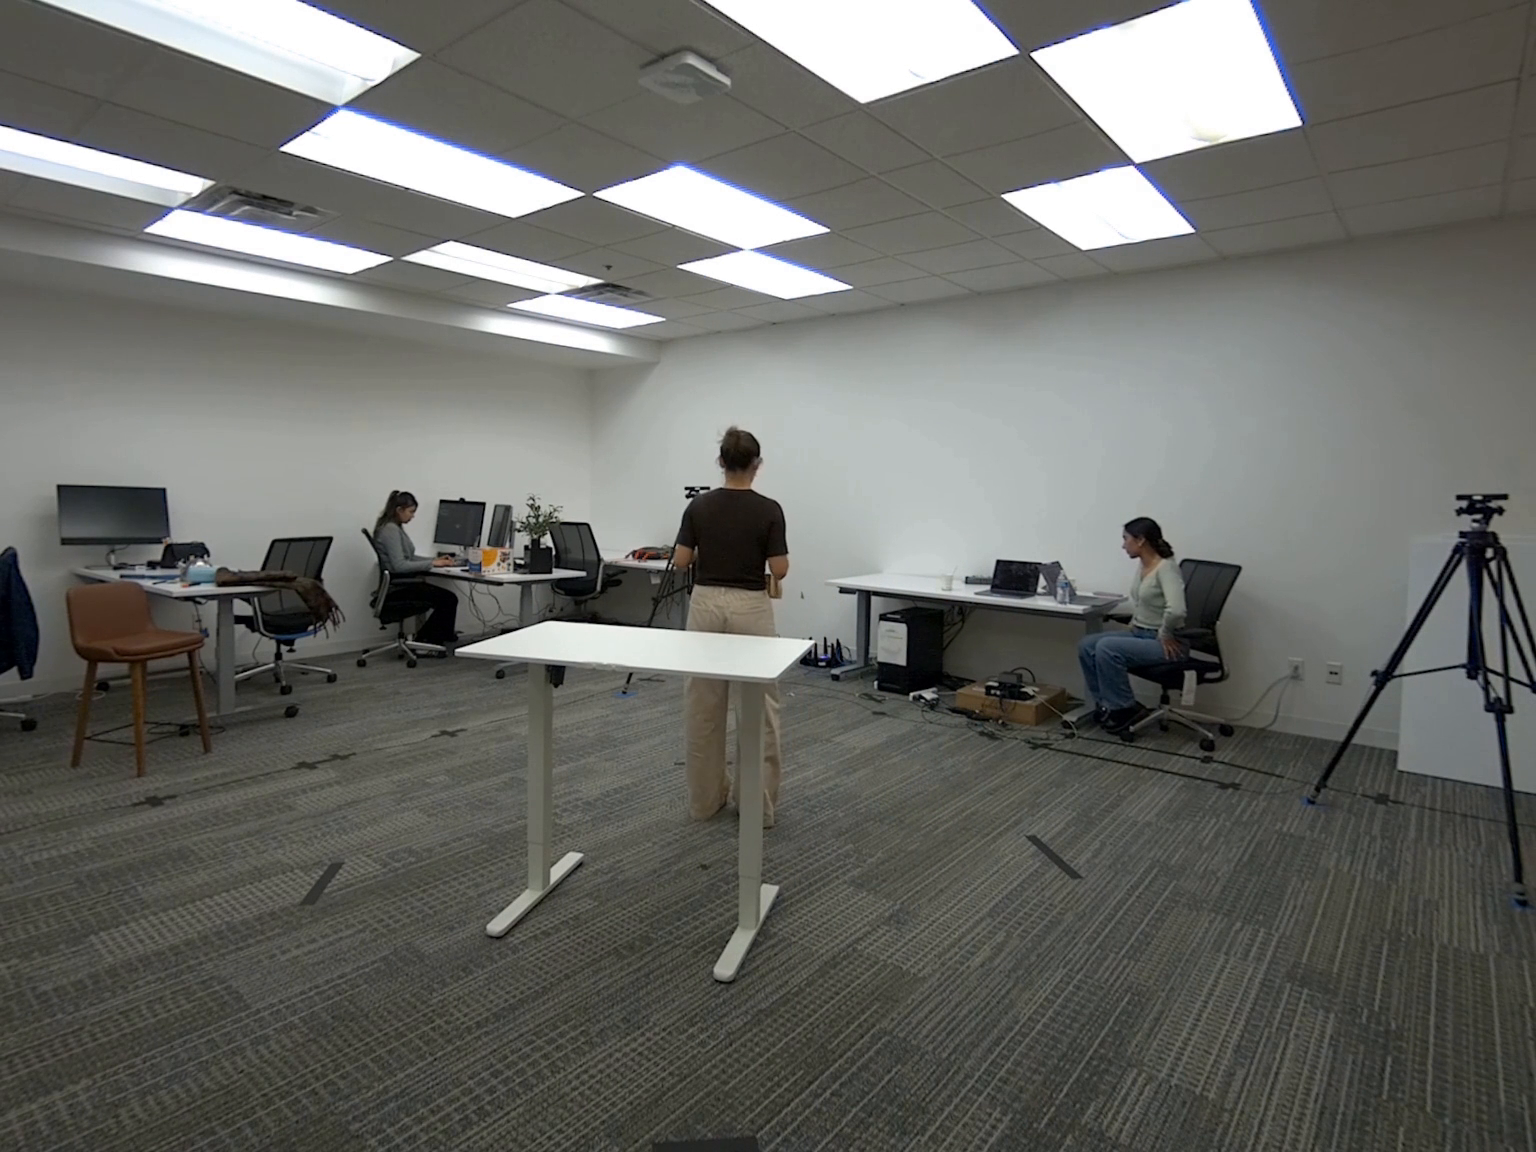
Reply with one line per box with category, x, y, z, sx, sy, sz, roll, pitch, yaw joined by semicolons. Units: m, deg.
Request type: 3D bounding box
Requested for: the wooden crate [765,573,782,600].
wooden crate;-0.114;-0.048;3.841;0.330;0.275;0.295;1;-7;15
